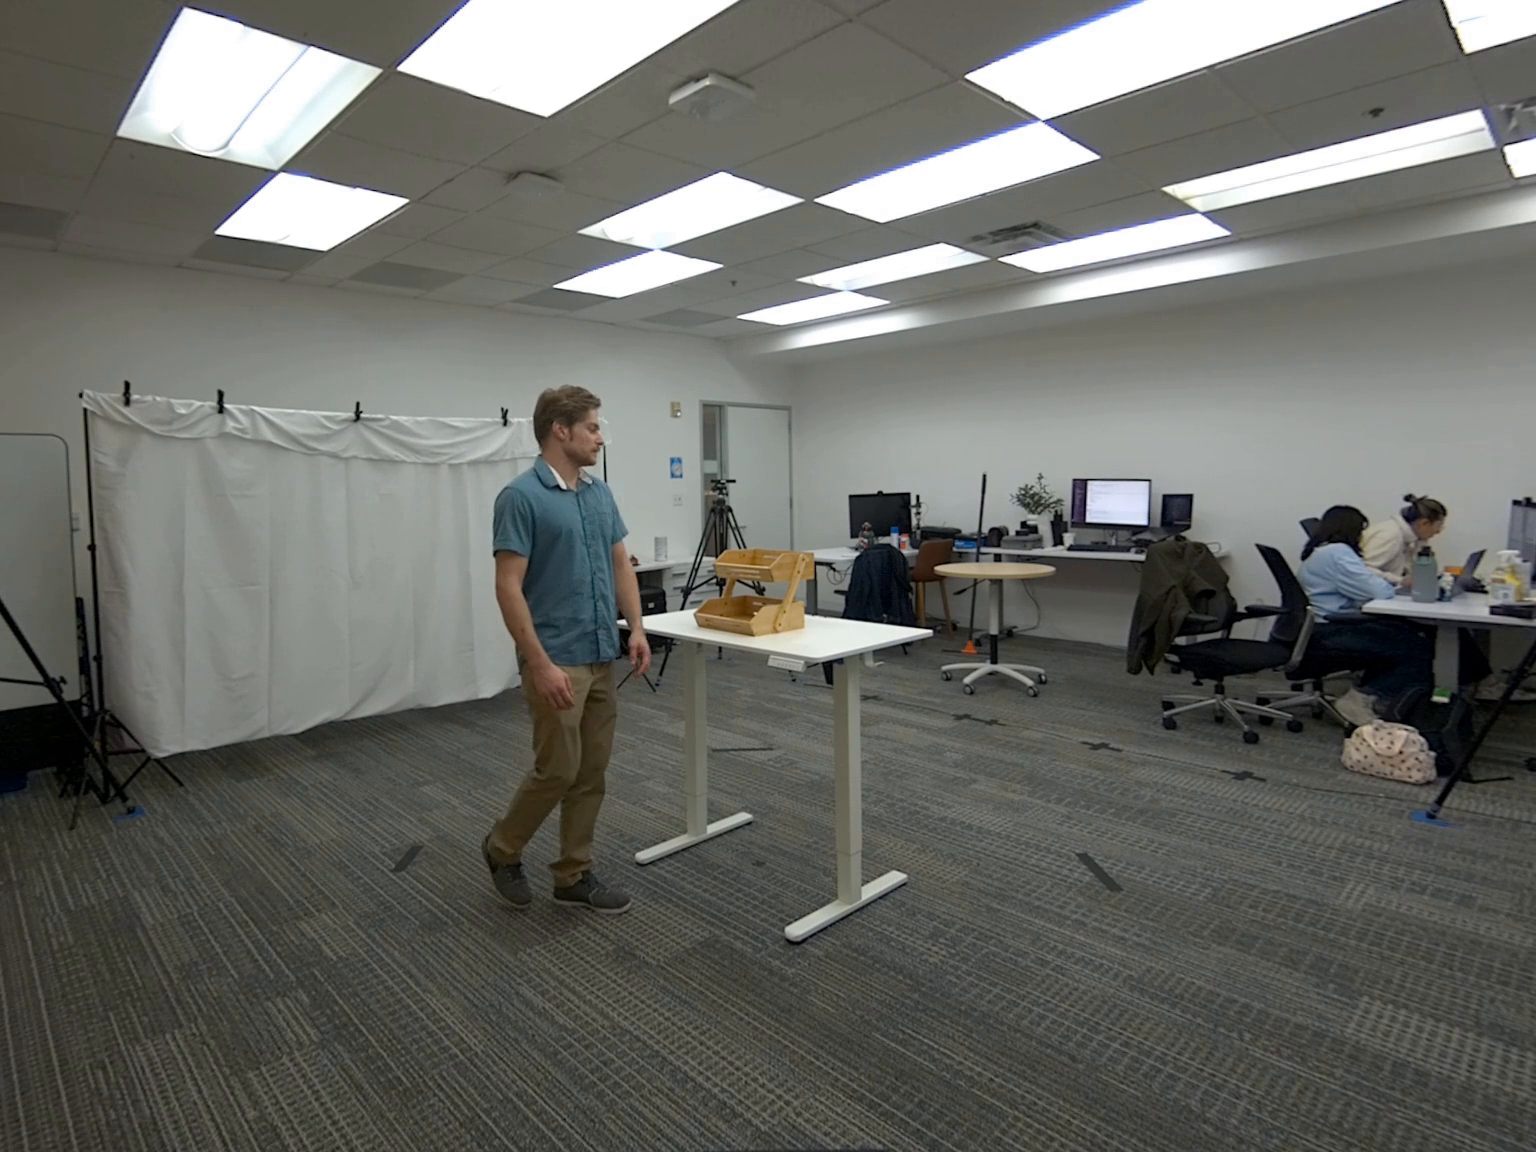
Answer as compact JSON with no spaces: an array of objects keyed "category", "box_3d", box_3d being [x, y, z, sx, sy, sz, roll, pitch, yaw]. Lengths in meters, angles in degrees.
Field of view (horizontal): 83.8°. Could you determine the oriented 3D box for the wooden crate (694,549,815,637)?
[{"category":"wooden crate","box_3d":[-0.050,0.046,2.985,0.294,0.272,0.334,-4,5,-42]}]
